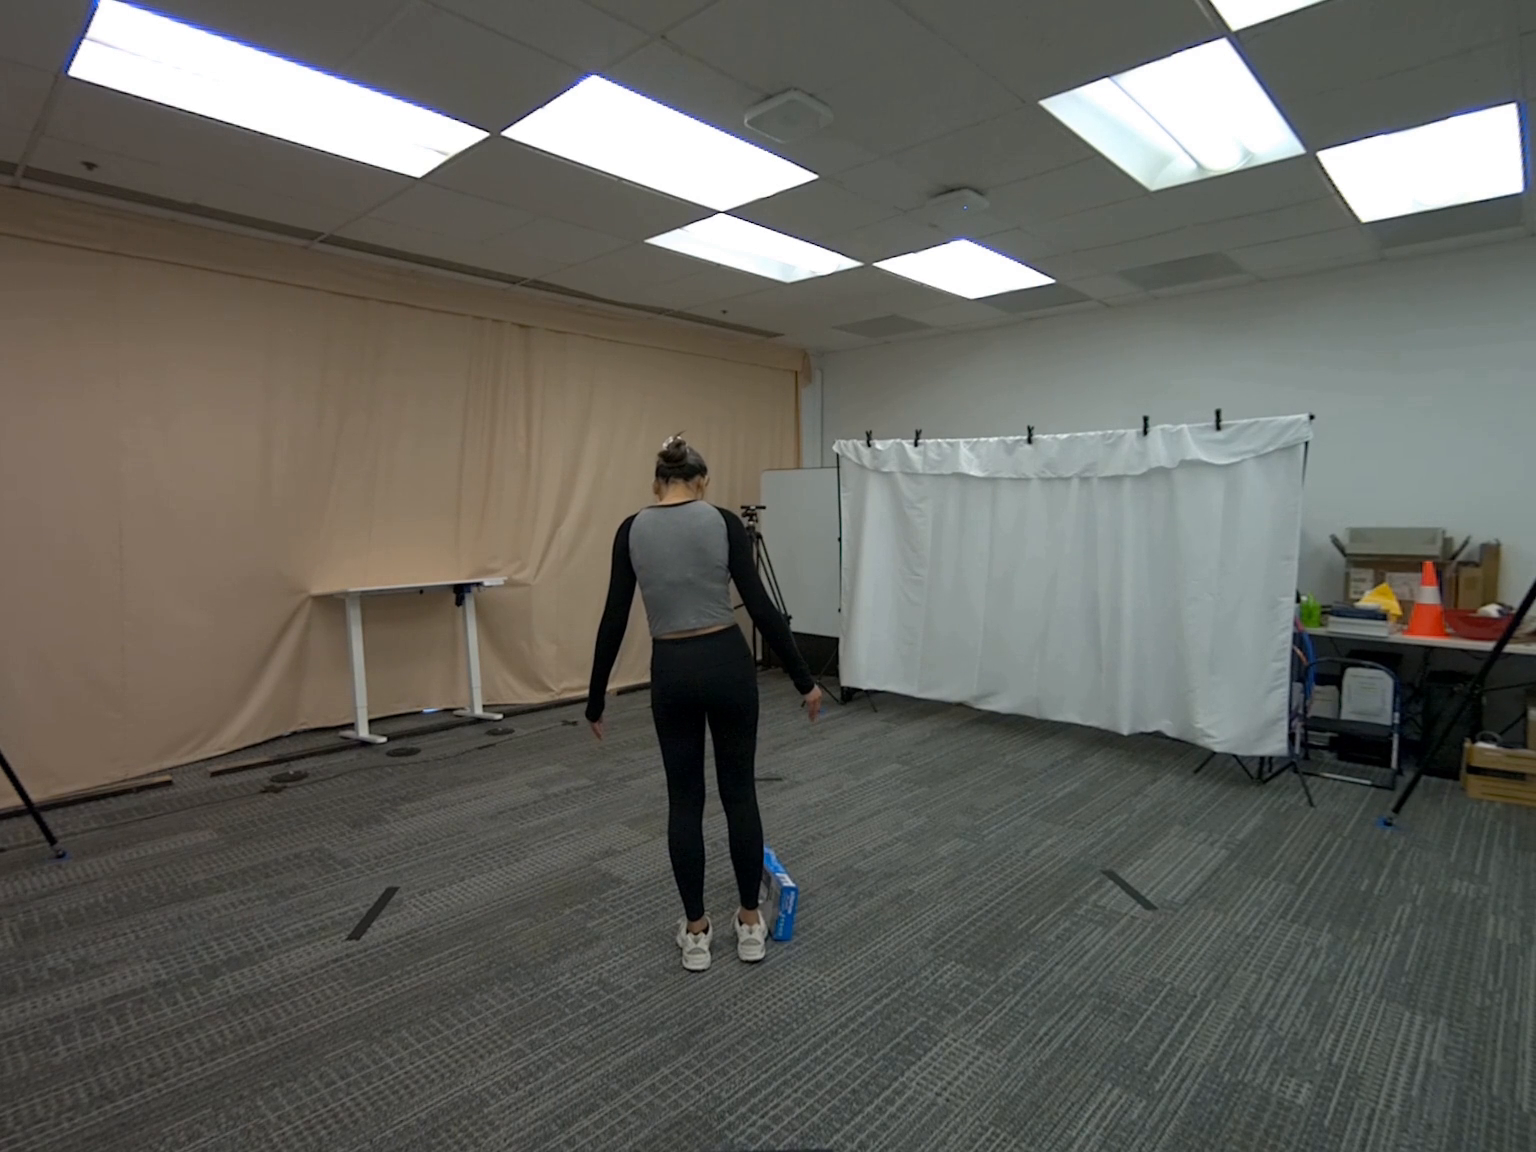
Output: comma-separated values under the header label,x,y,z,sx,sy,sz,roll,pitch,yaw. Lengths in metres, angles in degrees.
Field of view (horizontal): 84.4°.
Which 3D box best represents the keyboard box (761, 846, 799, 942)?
label,x,y,z,sx,sy,sz,roll,pitch,yaw
keyboard box,-0.005,1.060,2.899,0.058,0.176,0.445,7,3,-17
